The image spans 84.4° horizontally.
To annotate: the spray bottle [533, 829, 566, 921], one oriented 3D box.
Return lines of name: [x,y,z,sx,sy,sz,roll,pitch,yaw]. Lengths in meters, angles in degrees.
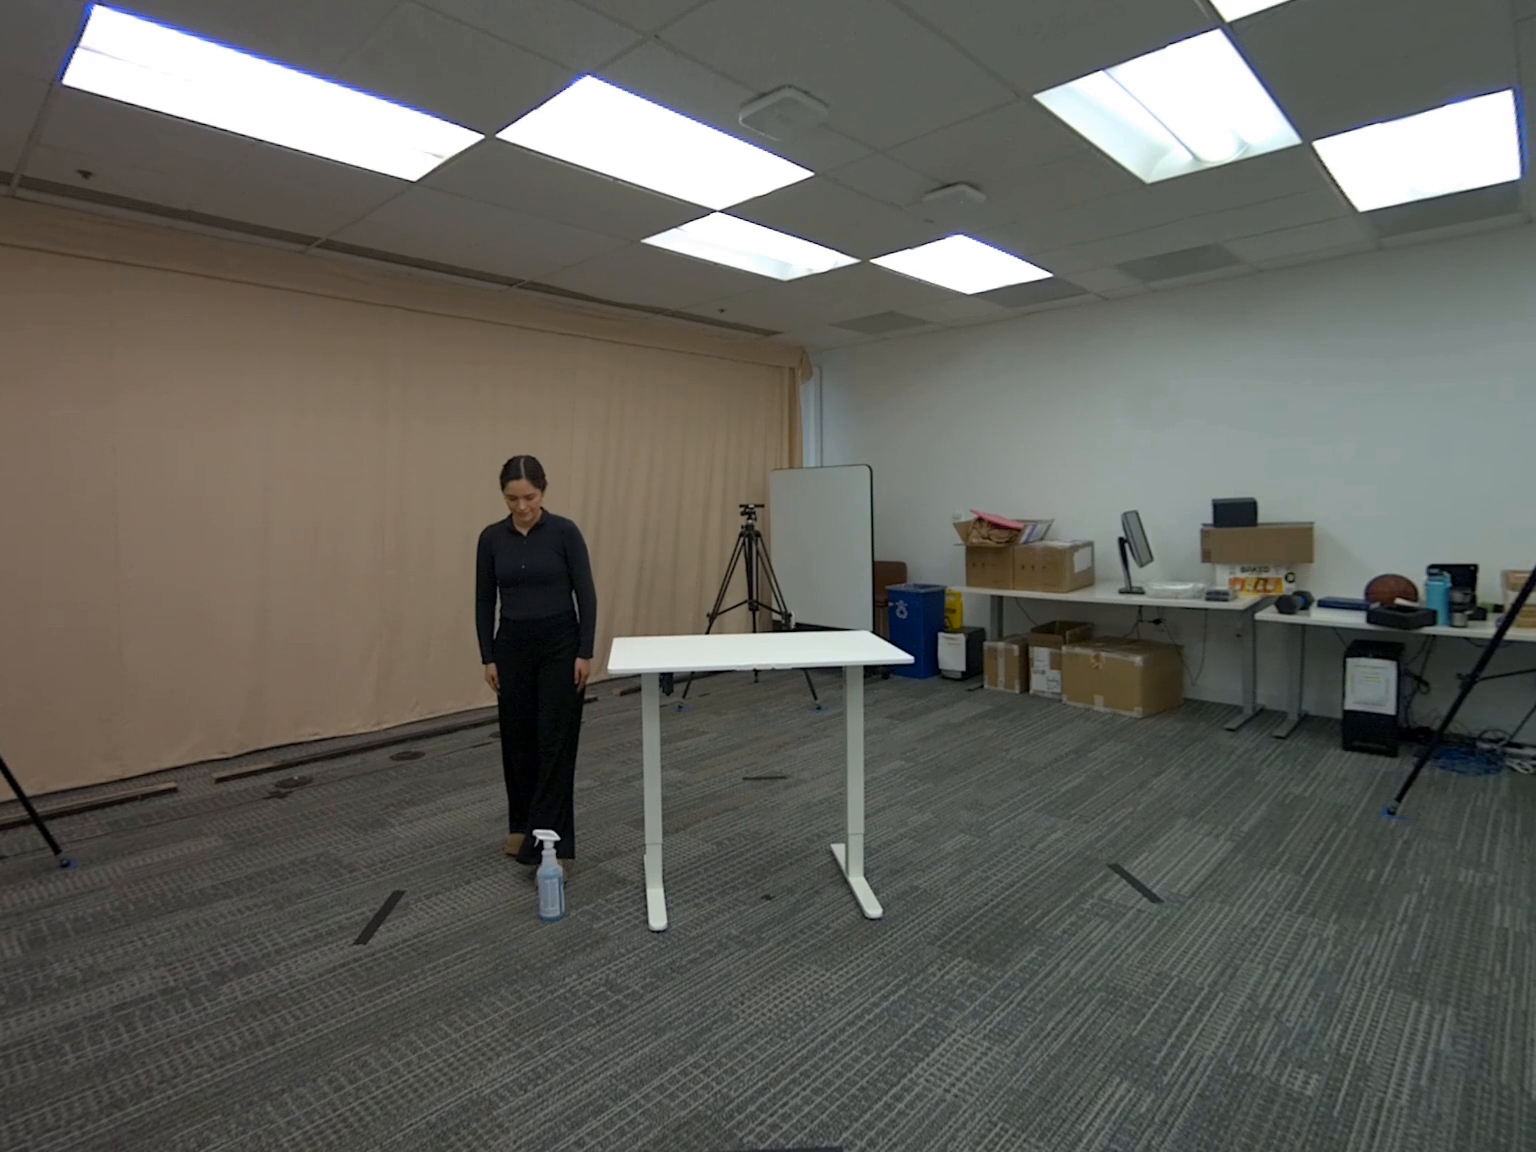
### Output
spray bottle: [-0.747,1.021,2.878,0.092,0.297,0.085,-1,3,28]
